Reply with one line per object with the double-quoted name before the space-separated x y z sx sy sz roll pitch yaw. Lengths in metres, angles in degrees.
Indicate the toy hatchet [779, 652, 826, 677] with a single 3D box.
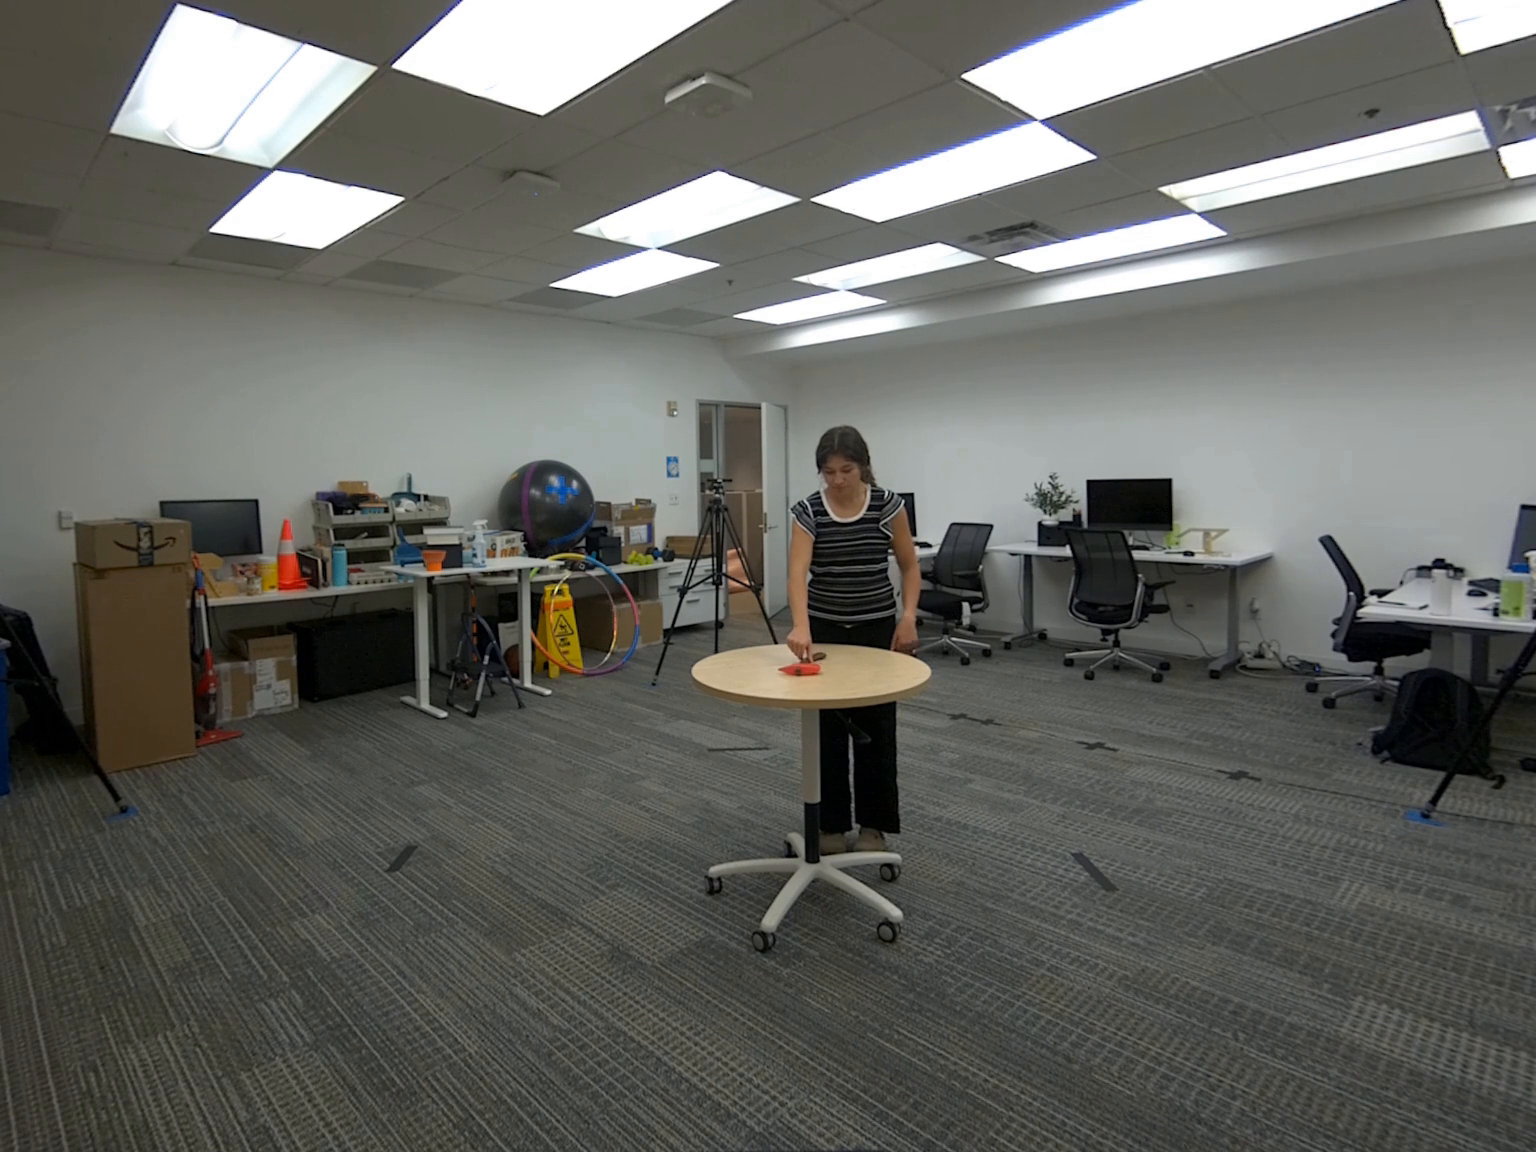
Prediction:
"toy hatchet" 0.155 0.280 2.772 0.134 0.029 0.264 -1 5 32
